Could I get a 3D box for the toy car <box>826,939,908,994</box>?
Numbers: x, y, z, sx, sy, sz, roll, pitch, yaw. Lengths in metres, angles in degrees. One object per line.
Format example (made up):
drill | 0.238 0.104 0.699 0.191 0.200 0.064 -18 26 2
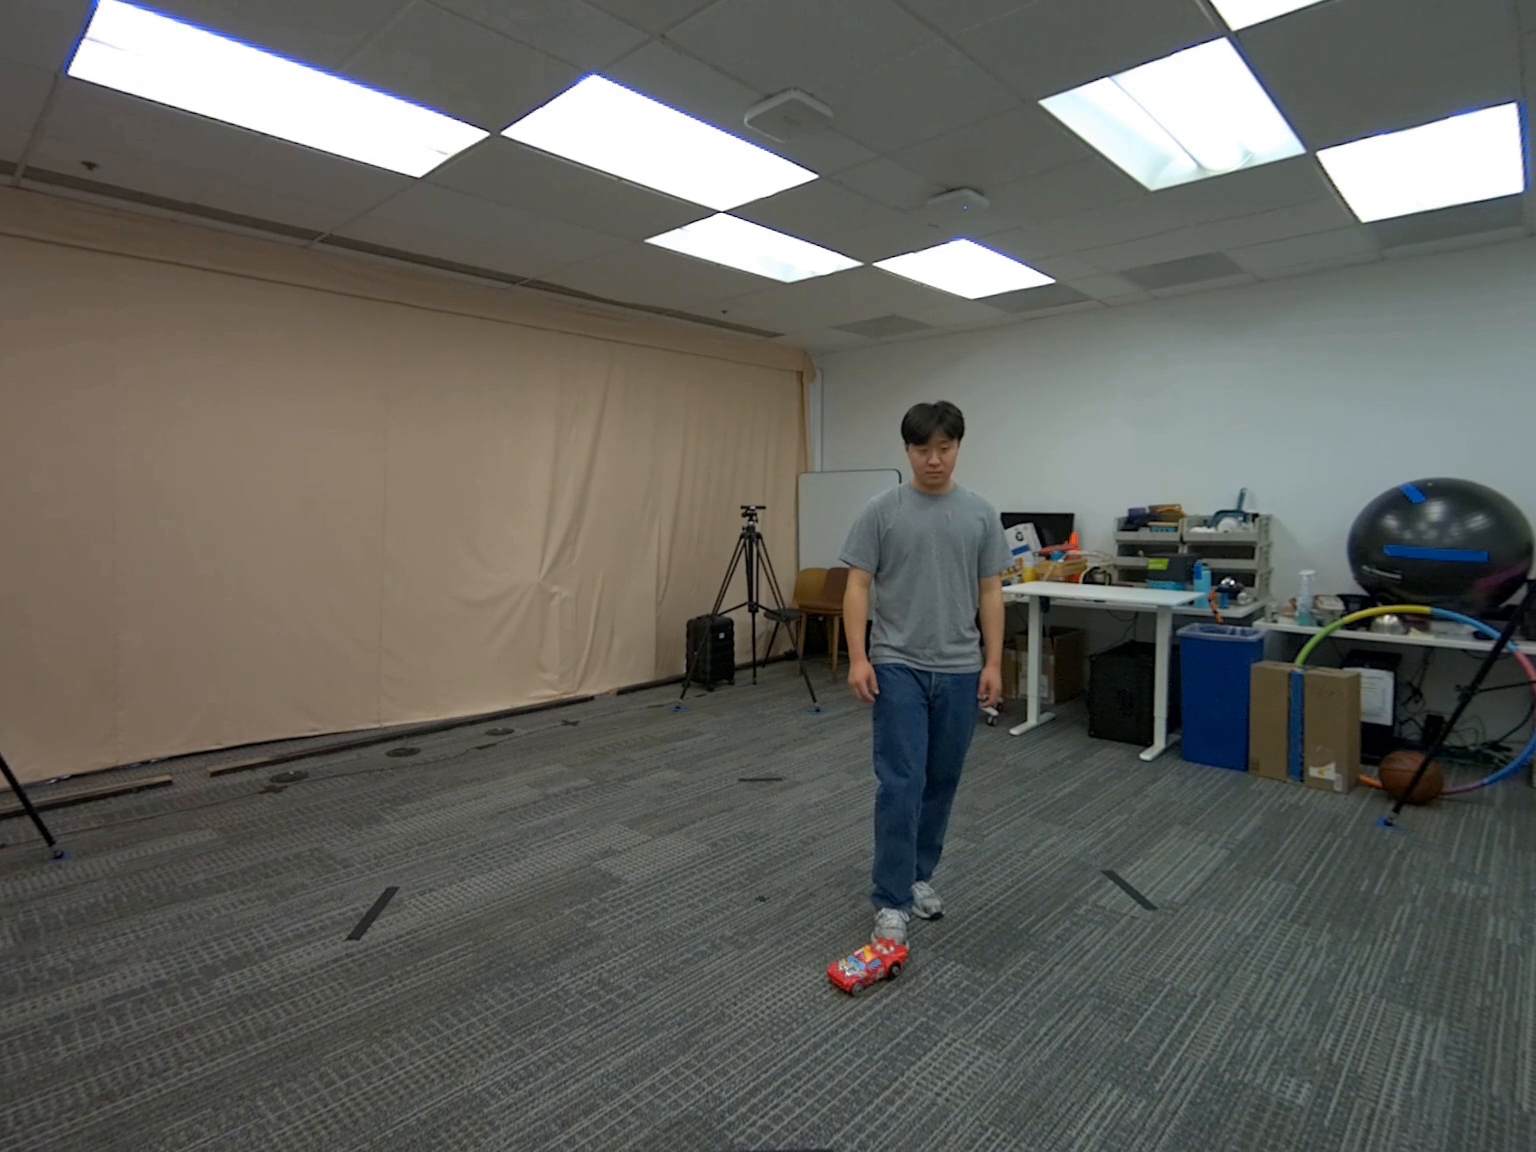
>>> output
toy car | 0.304 1.149 2.473 0.249 0.082 0.134 -20 15 -30
